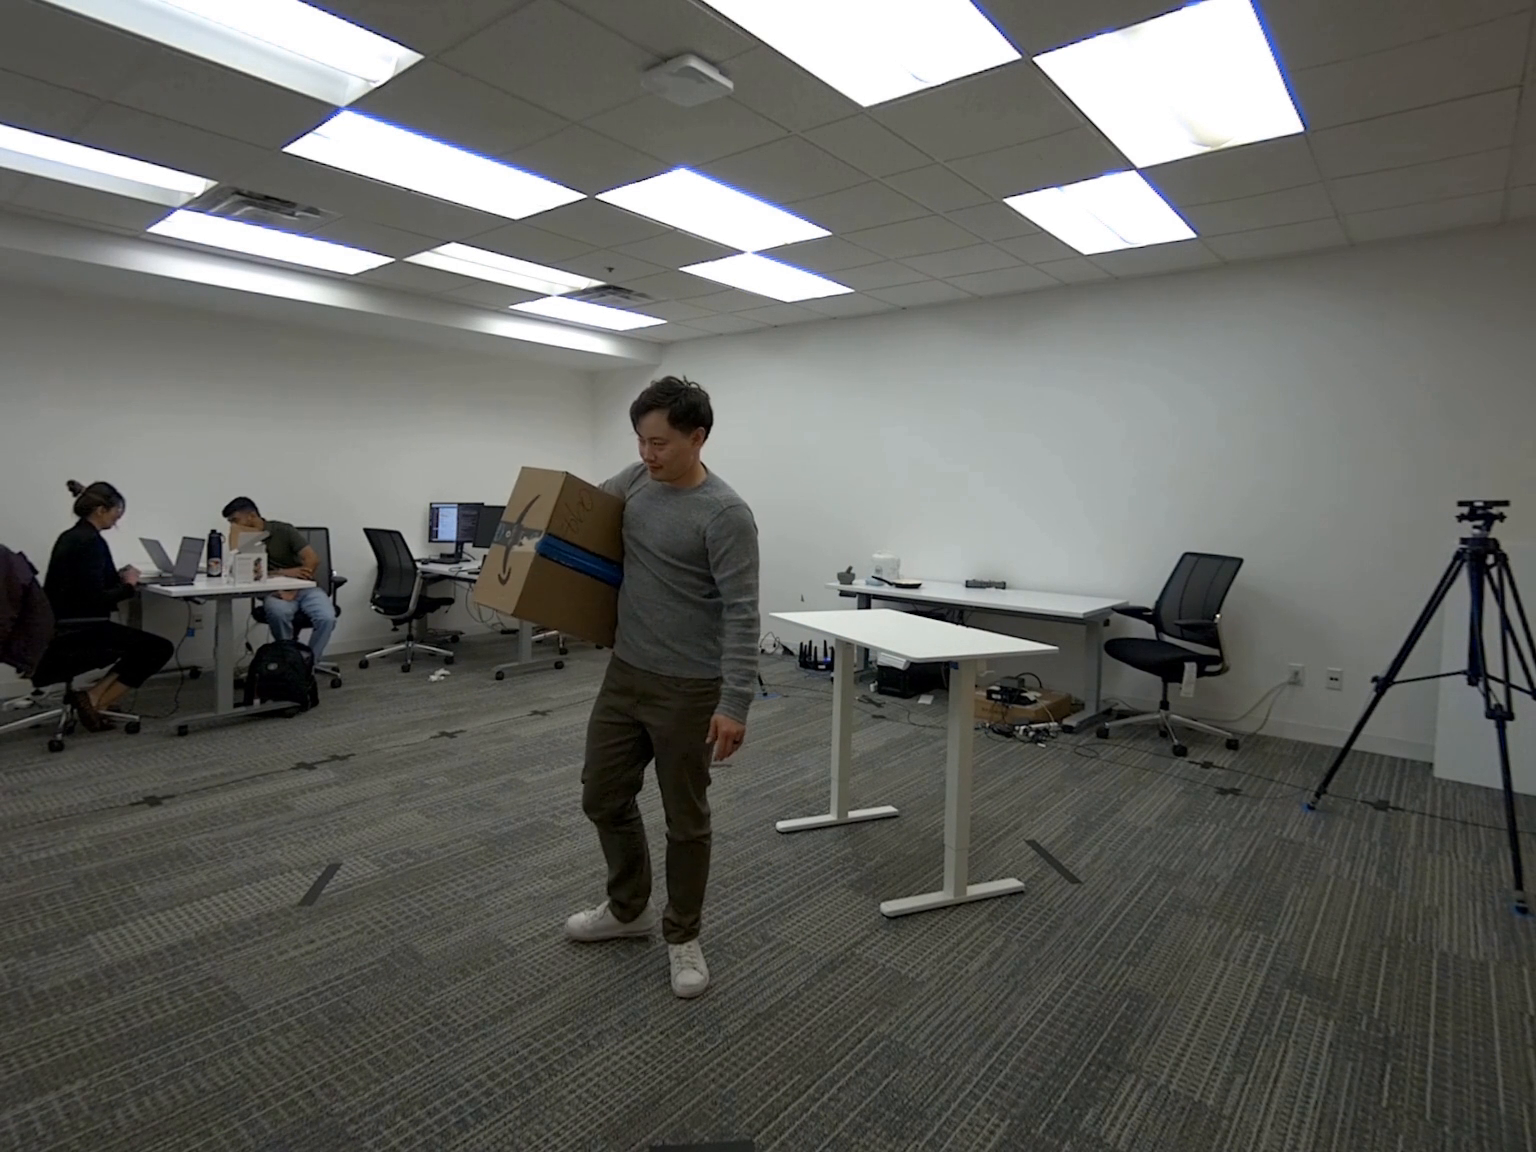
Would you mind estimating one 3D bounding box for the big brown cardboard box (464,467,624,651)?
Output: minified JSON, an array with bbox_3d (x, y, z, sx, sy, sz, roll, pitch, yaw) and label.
[{"bbox_3d":[-0.542,-0.018,2.546,0.241,0.420,0.565,9,-12,40],"label":"big brown cardboard box"}]
